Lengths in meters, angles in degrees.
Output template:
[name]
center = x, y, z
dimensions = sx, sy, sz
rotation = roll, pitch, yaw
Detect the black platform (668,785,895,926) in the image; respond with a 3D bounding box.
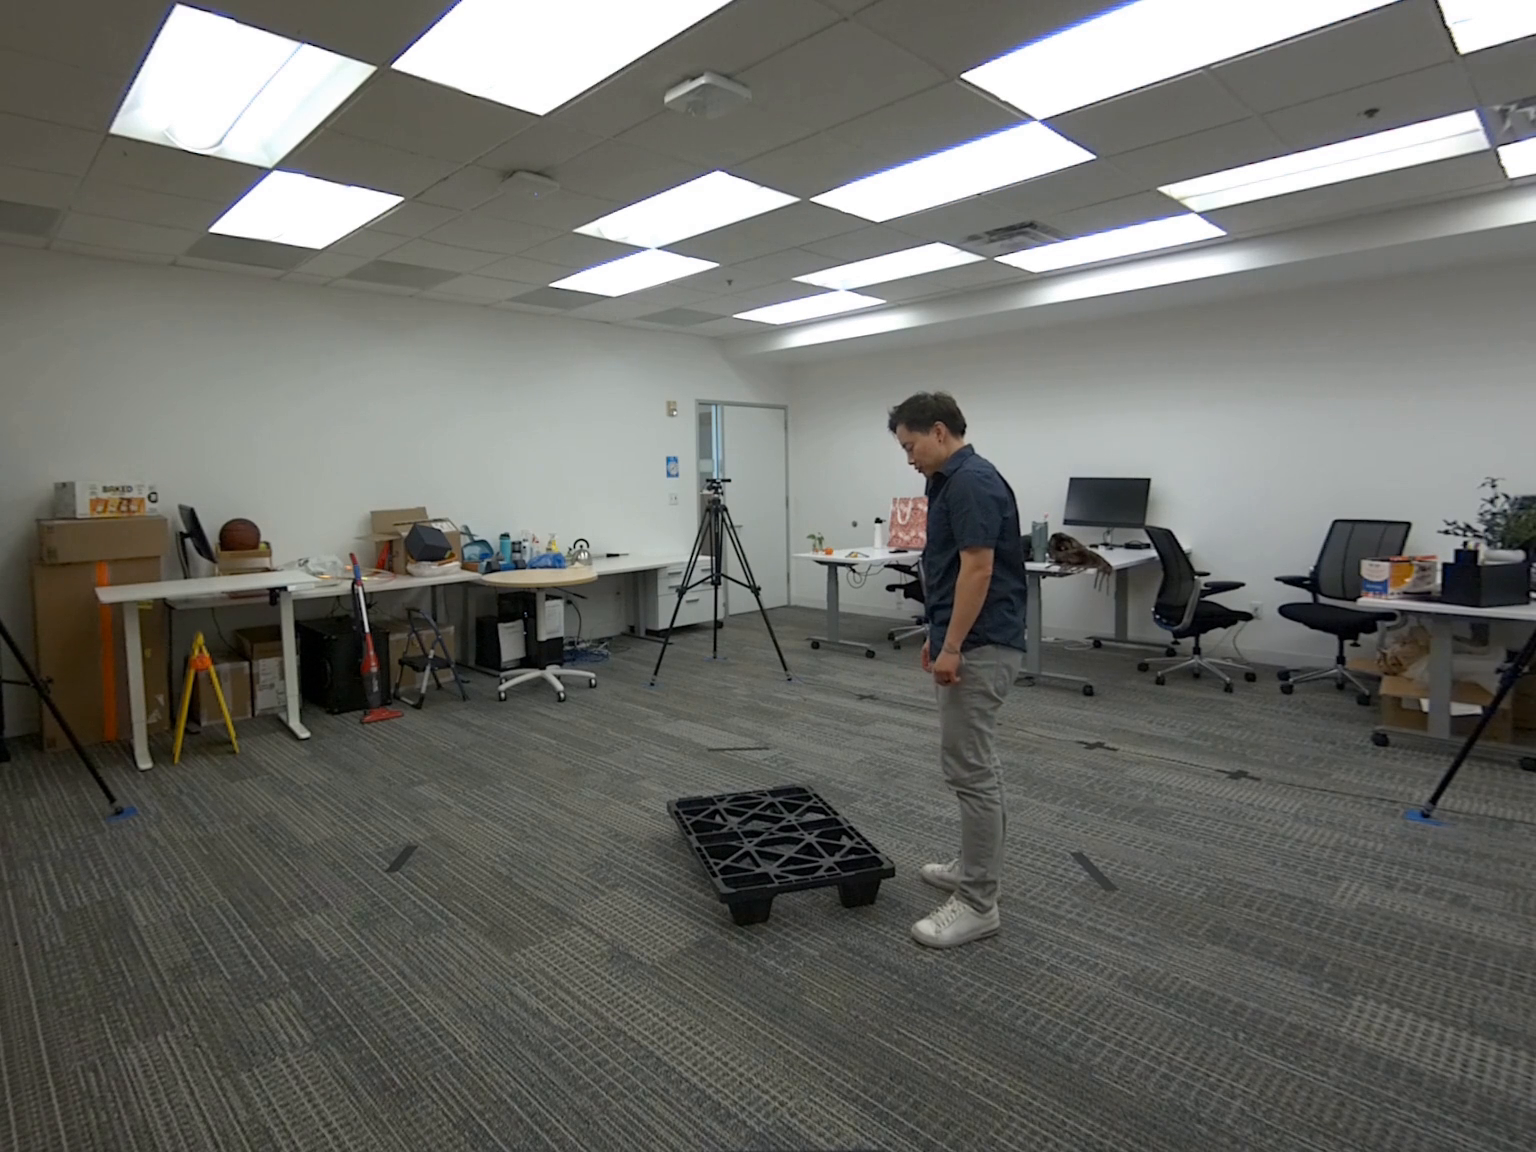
[black platform]
center = 0.009, 0.979, 3.075
dimensions = 0.596, 0.142, 0.822
rotation = -4, 7, -18
